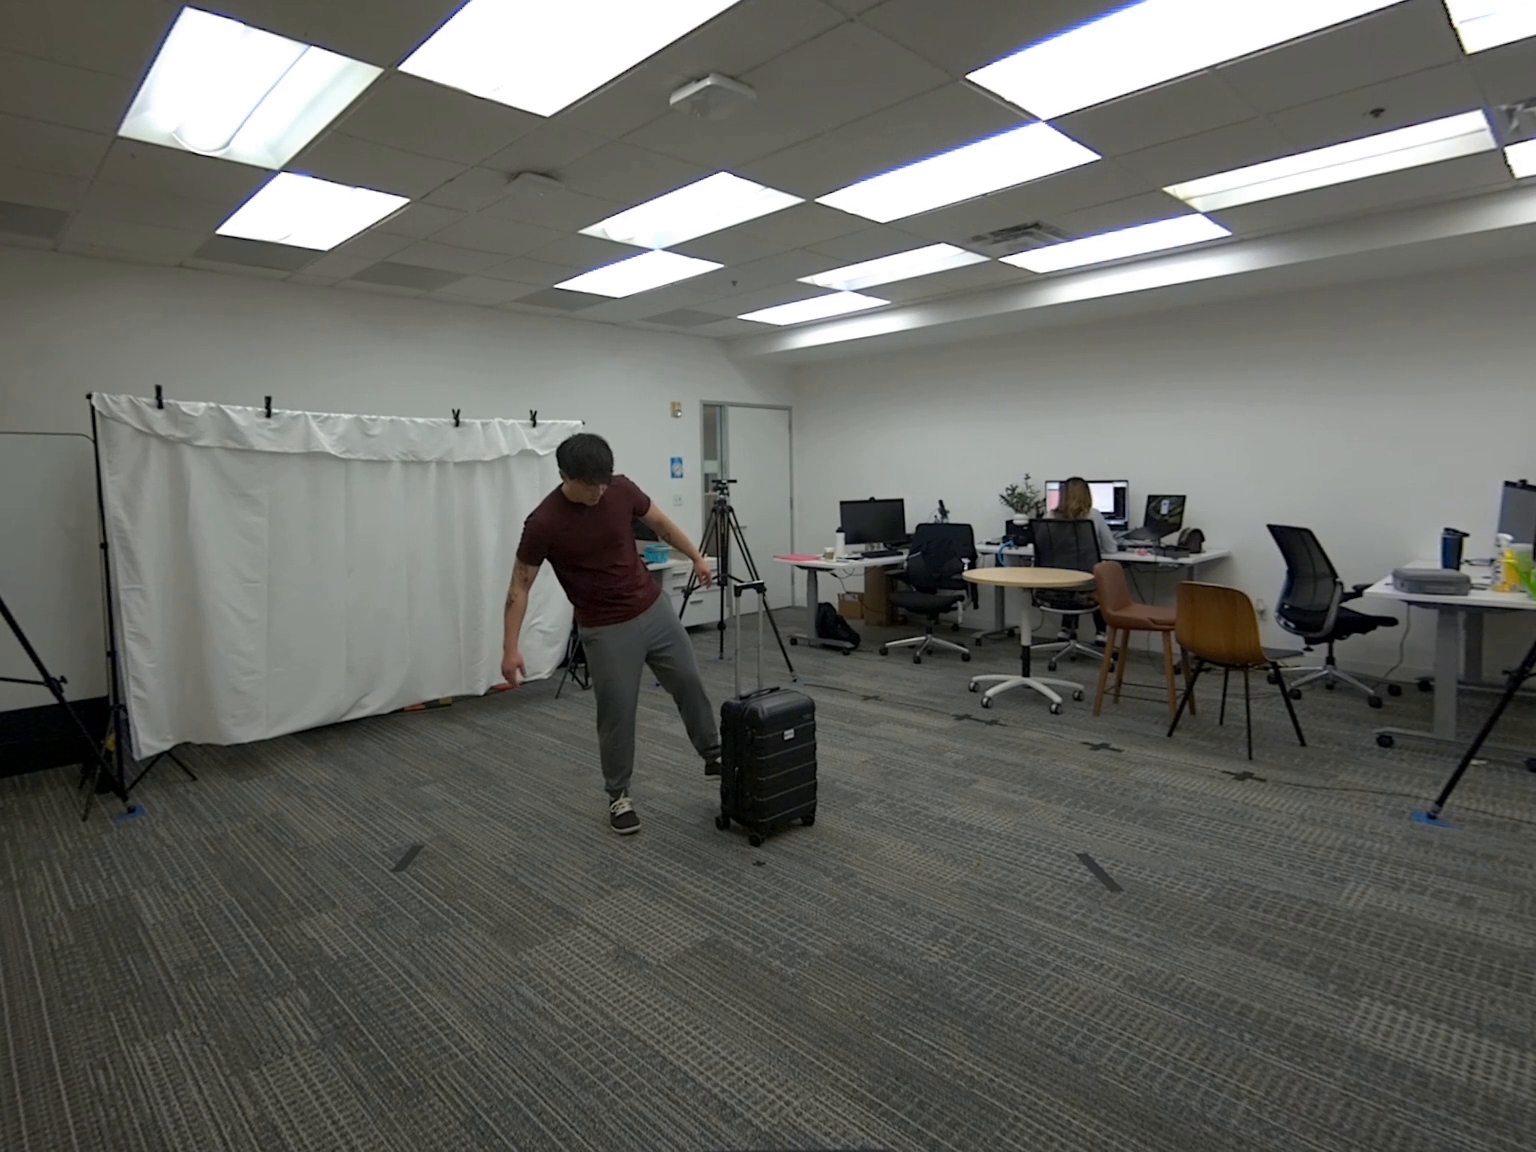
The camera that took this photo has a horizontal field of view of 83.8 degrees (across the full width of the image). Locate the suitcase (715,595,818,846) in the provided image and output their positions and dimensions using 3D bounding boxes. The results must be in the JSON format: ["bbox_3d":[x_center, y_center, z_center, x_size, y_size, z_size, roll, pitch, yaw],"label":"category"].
[{"bbox_3d":[0.004,0.533,3.410,0.374,0.975,0.265,-4,6,-42],"label":"suitcase"}]
